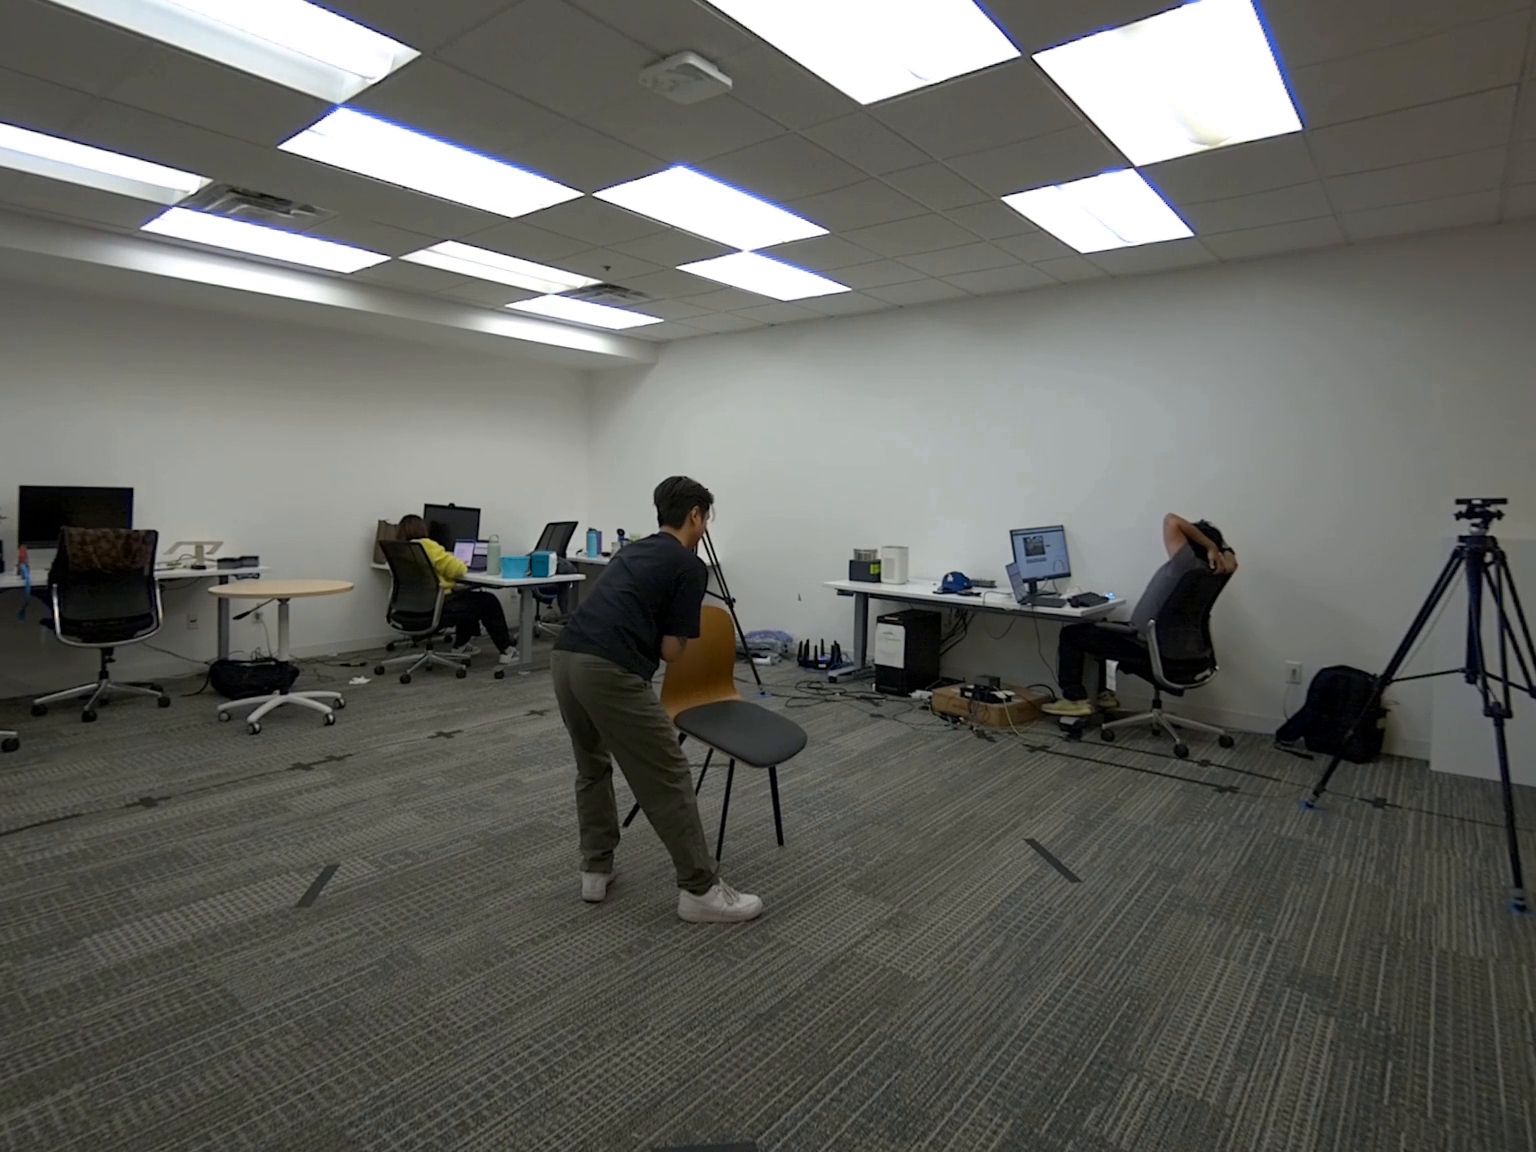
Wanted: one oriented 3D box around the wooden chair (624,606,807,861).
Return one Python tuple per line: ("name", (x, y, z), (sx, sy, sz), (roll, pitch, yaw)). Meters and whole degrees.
("wooden chair", (-0.157, 0.596, 3.203), (0.542, 0.872, 0.464), (14, 9, 33))
